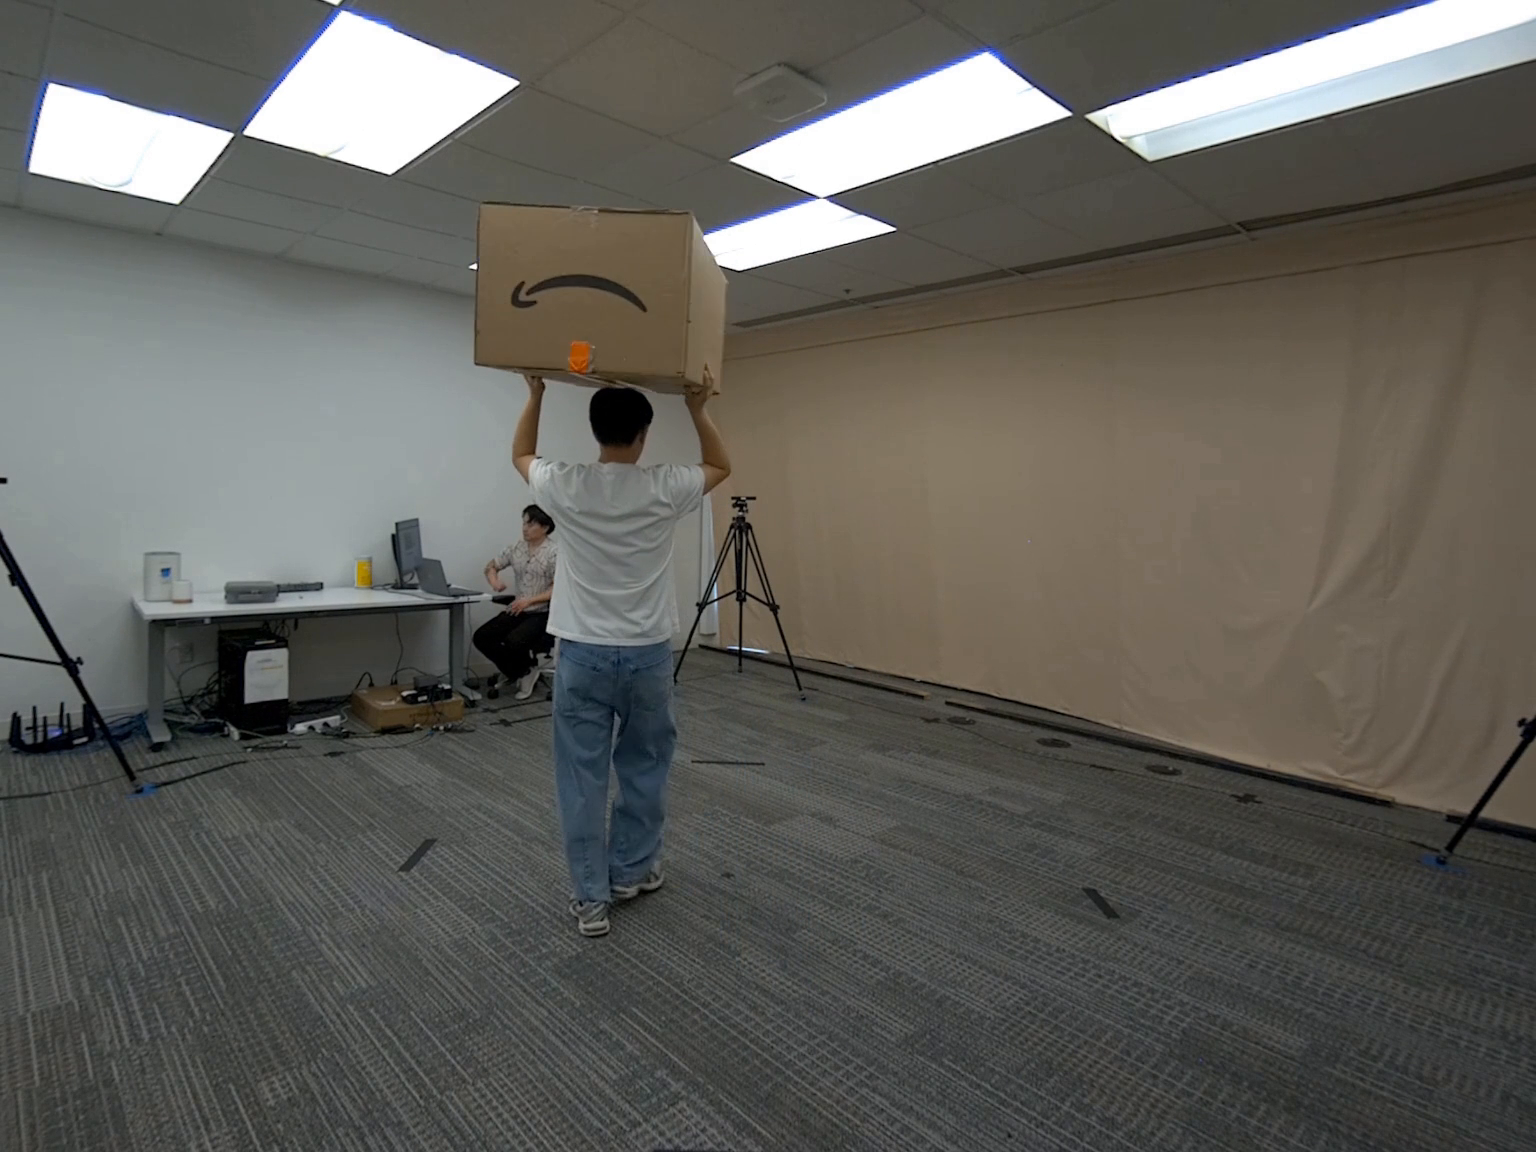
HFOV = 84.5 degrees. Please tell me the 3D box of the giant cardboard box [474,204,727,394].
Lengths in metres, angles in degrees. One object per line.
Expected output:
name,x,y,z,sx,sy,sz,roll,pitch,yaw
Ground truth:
giant cardboard box,-0.470,-0.832,2.717,0.579,0.423,1.029,5,10,2
